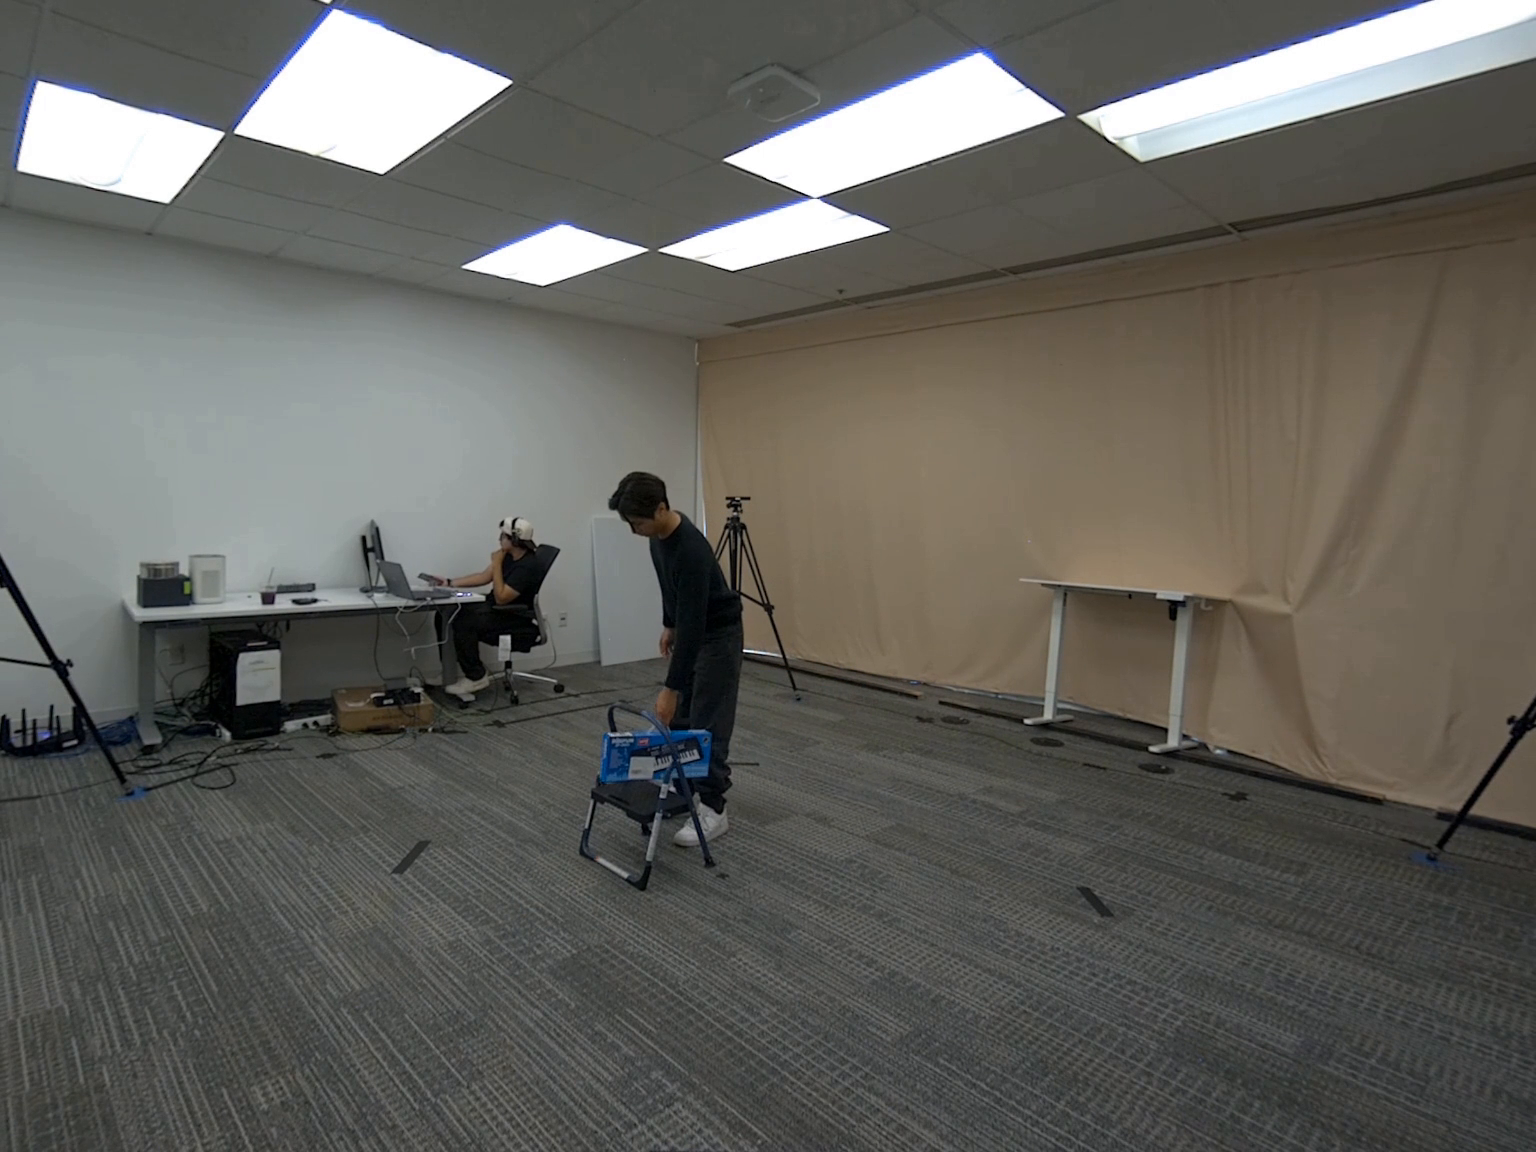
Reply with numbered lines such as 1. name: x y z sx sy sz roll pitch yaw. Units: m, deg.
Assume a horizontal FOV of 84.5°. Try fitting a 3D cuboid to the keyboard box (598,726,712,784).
1. keyboard box: -0.434 0.692 3.226 0.427 0.176 0.060 4 1 -31
